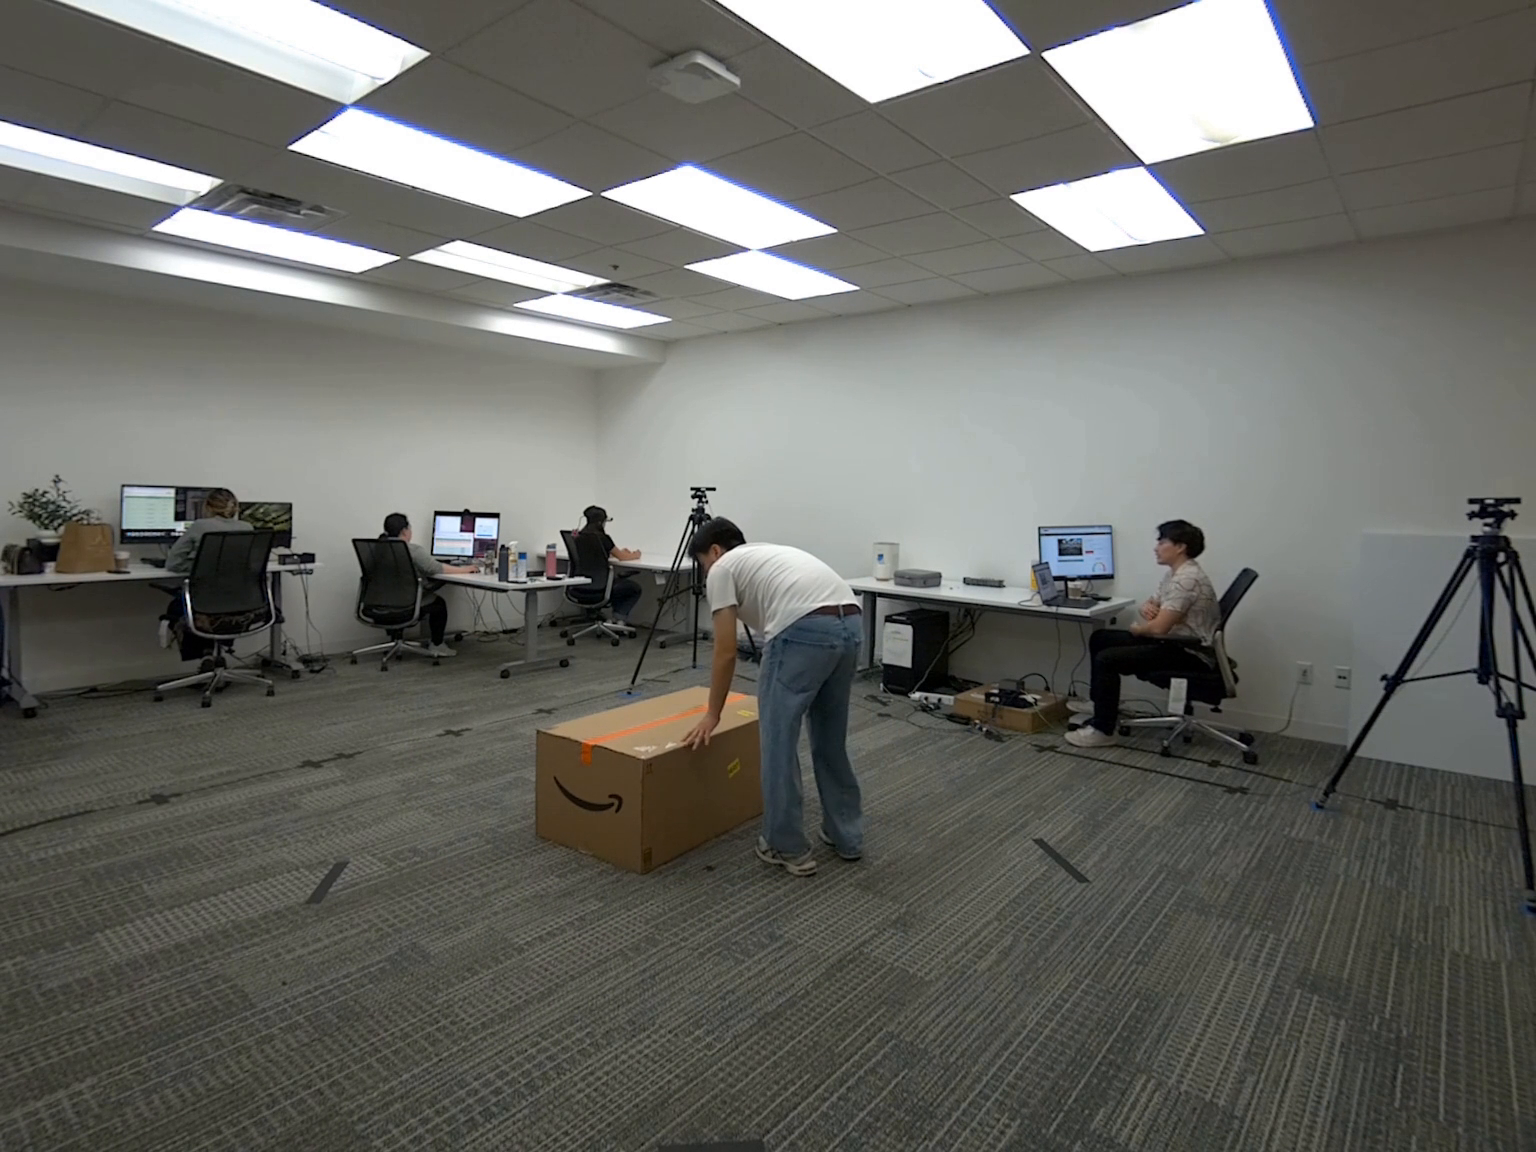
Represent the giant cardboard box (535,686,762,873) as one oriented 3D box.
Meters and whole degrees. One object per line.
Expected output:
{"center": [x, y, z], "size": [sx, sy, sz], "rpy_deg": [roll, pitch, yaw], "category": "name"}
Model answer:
{"center": [-0.417, 0.798, 3.601], "size": [0.596, 0.424, 0.997], "rpy_deg": [5, 6, 35], "category": "giant cardboard box"}
